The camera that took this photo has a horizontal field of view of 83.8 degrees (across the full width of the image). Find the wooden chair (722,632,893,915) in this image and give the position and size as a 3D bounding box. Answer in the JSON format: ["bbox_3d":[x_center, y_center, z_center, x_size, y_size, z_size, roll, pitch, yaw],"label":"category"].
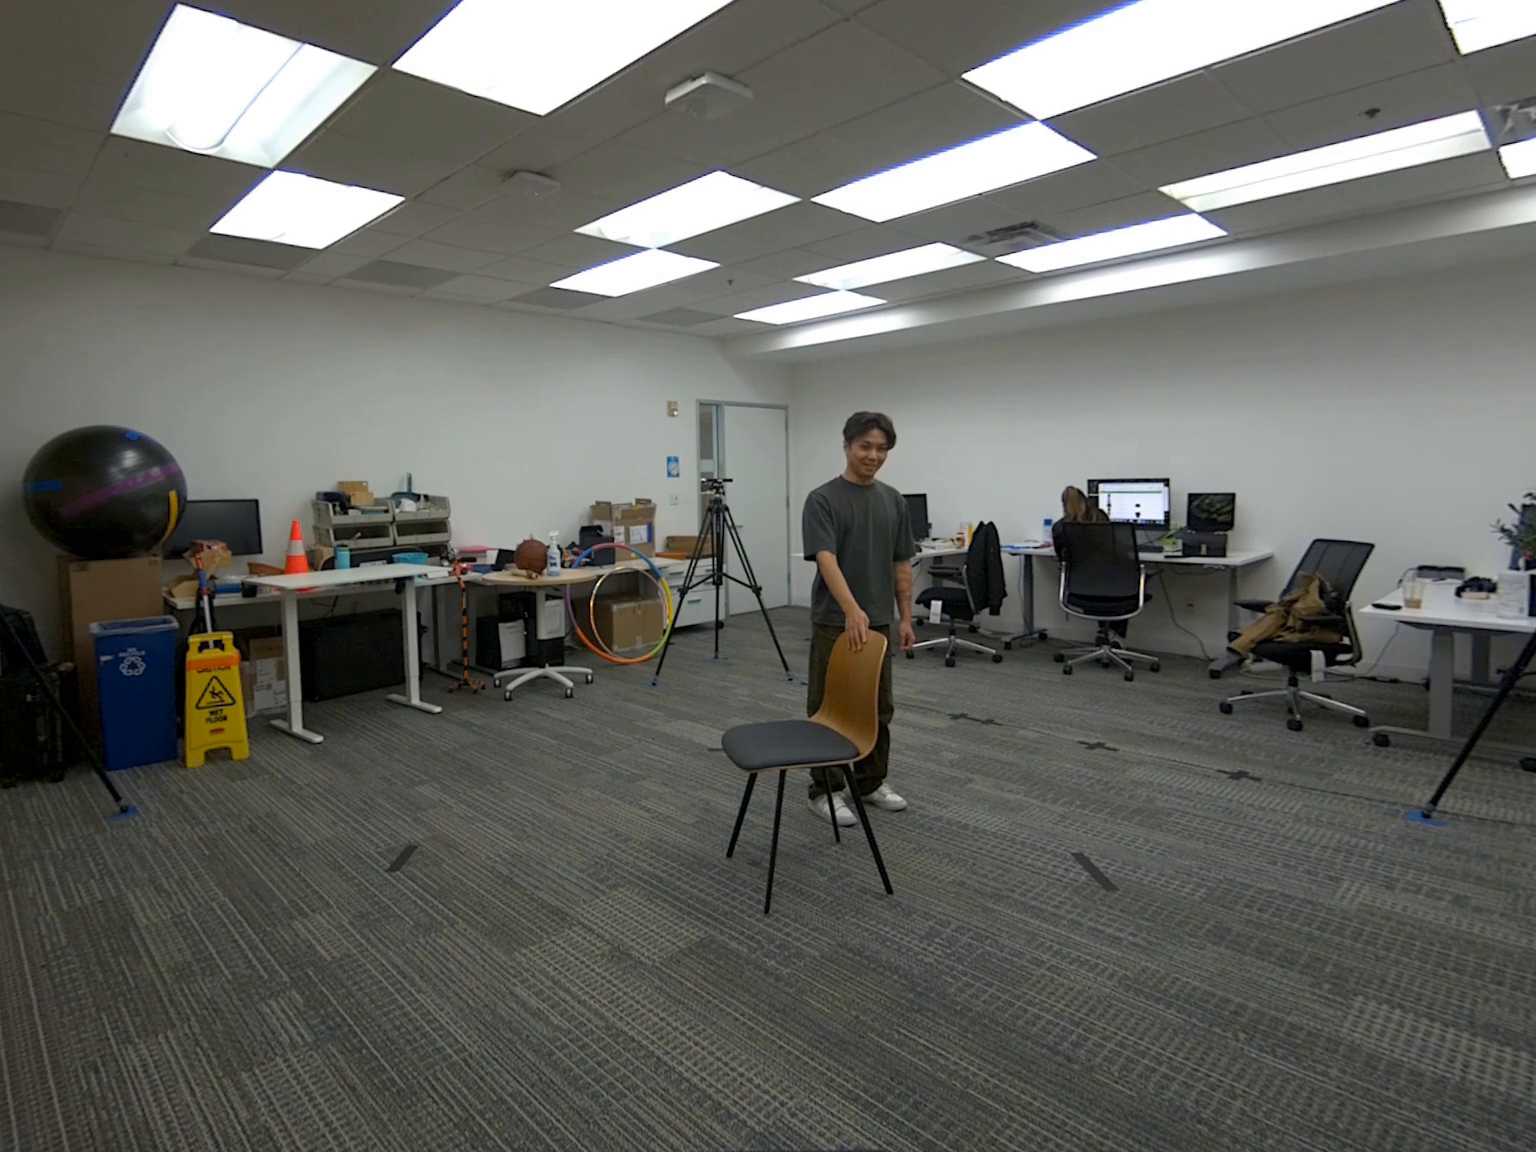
[{"bbox_3d":[0.123,0.629,2.977,0.514,0.875,0.487,3,4,-17],"label":"wooden chair"}]
